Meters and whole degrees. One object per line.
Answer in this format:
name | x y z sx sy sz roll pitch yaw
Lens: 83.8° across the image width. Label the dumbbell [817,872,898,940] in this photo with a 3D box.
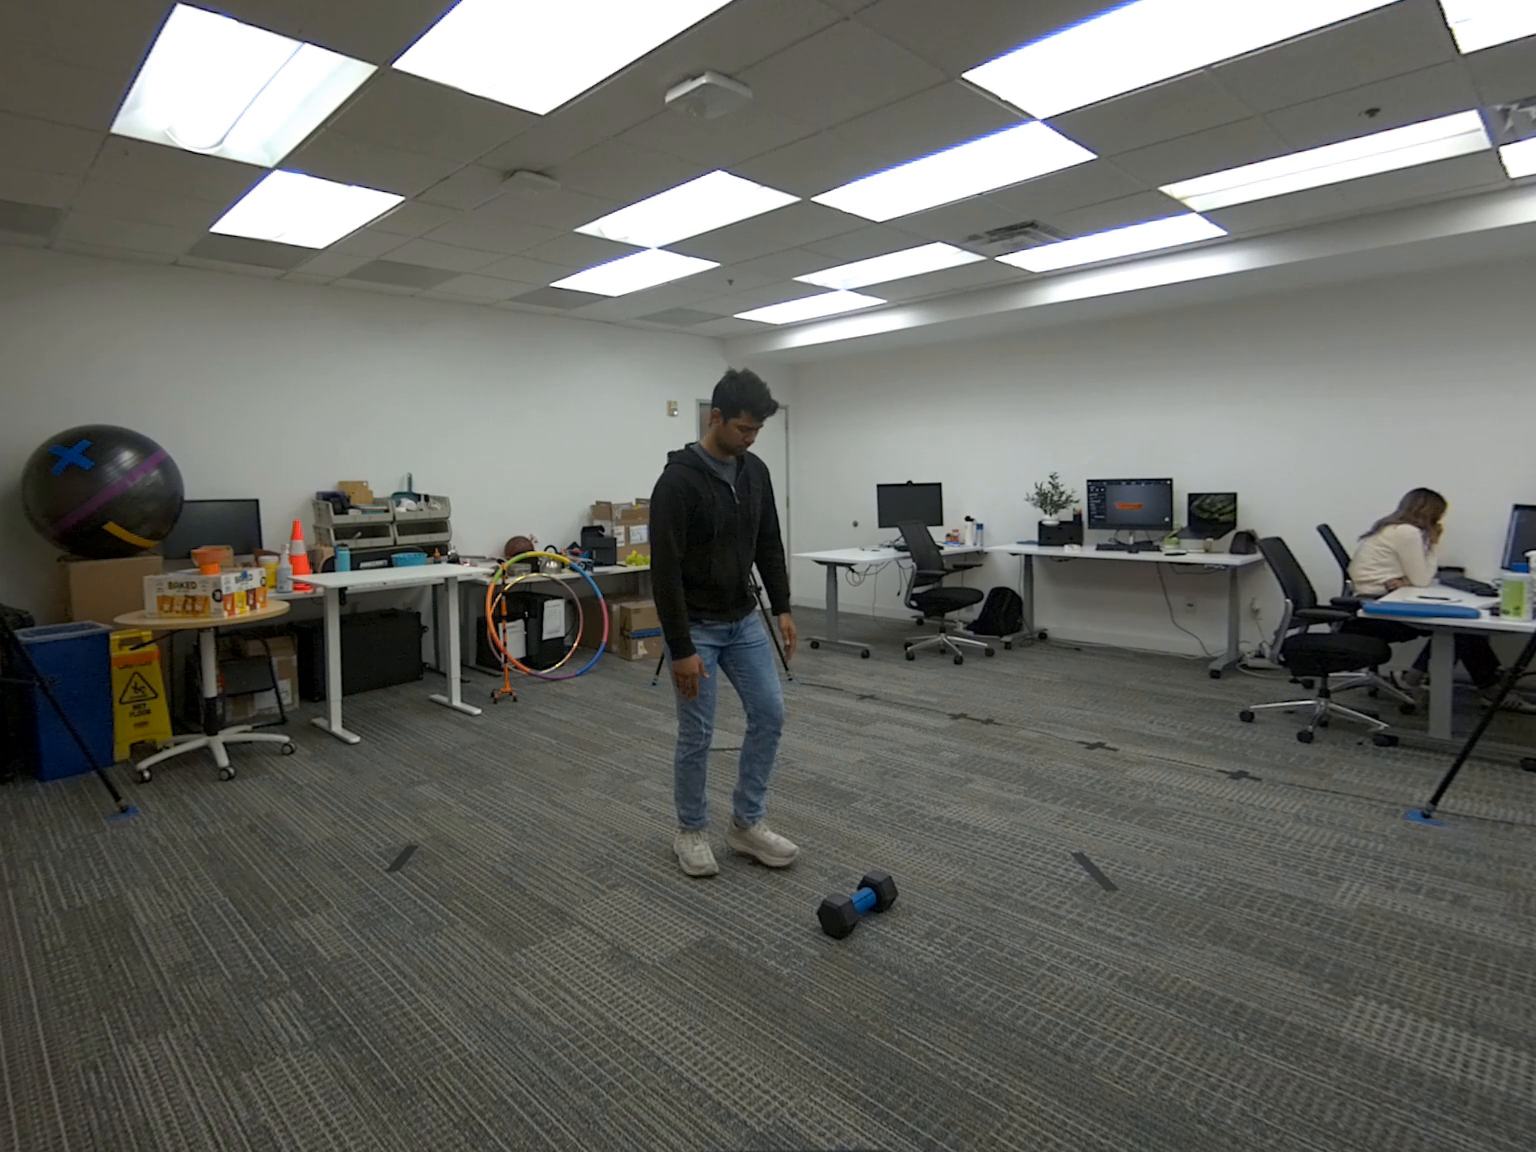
dumbbell | 0.293 1.032 2.693 0.286 0.121 0.113 -8 39 -47
